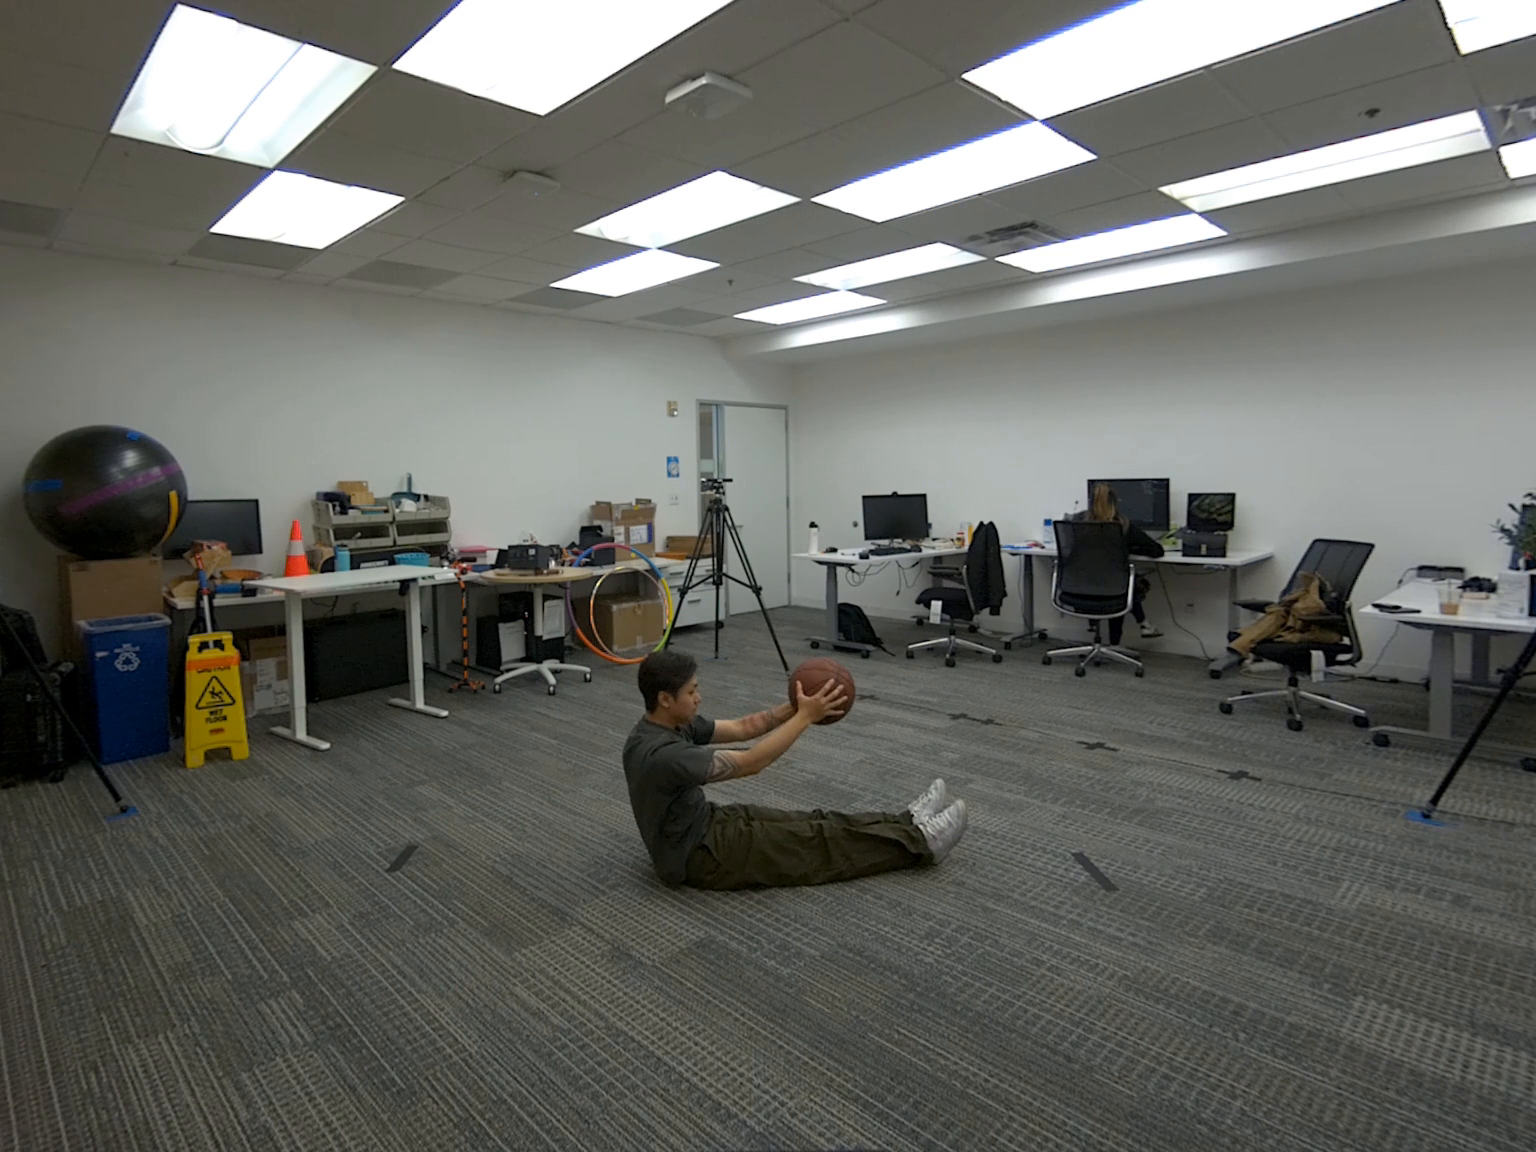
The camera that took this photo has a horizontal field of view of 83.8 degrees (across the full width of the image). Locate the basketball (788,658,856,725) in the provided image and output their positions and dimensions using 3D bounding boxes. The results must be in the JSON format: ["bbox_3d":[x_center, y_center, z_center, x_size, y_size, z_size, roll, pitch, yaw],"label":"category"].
[{"bbox_3d":[0.187,0.410,3.045,0.236,0.235,0.237,-1,5,-2],"label":"basketball"}]
